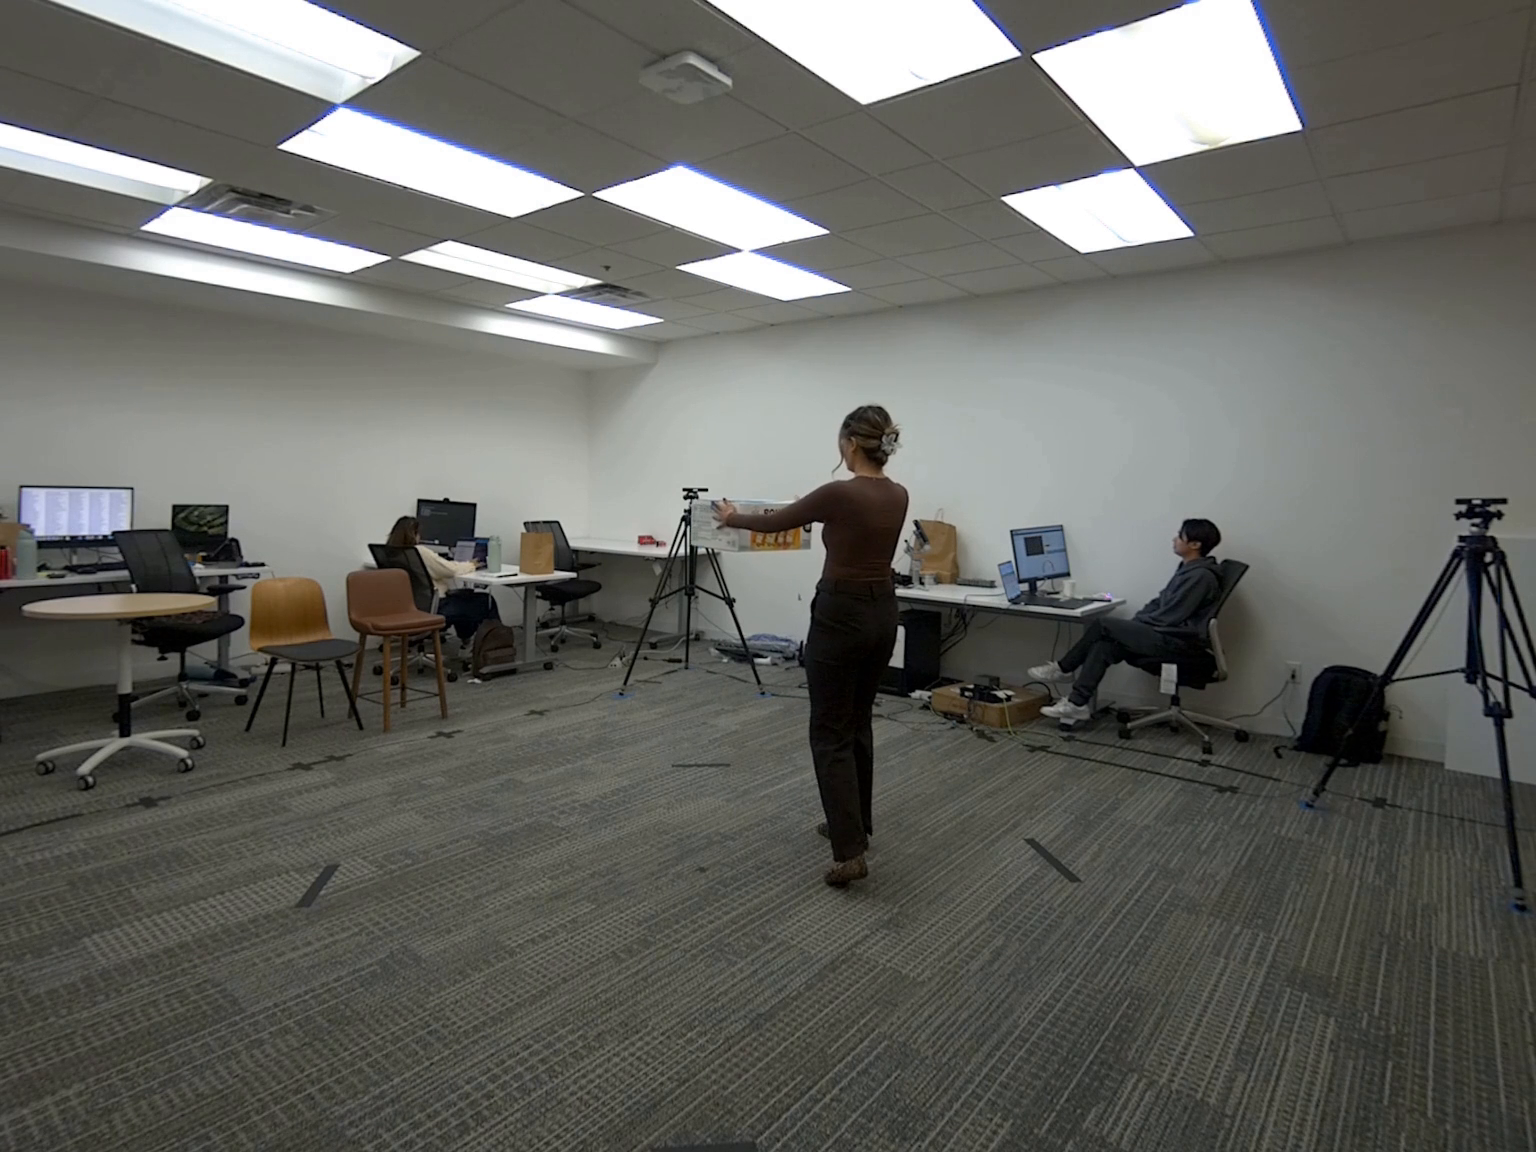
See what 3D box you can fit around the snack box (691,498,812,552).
[{"bbox_3d":[-0.084,-0.228,3.704,0.393,0.205,0.352,-4,8,-40],"label":"snack box"}]
